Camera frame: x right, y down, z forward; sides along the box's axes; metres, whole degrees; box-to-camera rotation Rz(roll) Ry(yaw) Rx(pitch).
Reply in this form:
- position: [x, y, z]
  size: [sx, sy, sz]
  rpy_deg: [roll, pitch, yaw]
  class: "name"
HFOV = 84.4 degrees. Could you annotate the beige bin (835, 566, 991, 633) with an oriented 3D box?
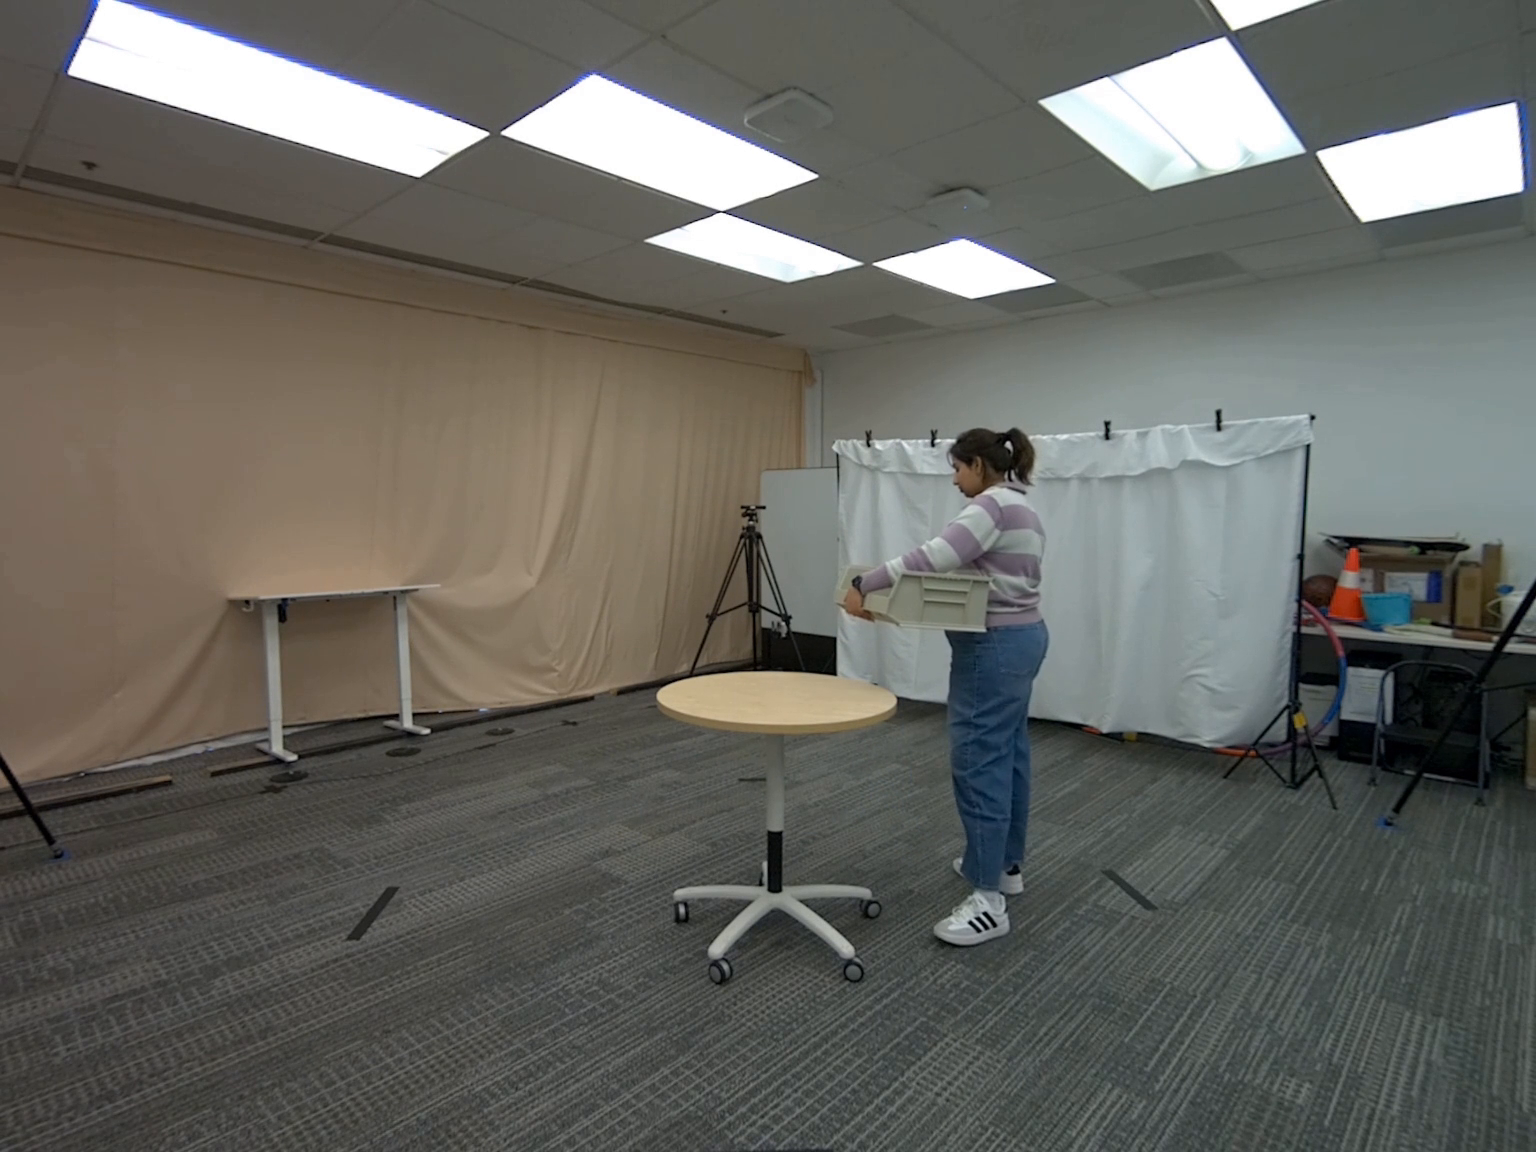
- position: [0.489, 0.080, 2.879]
  size: [0.371, 0.189, 0.430]
  rpy_deg: [5, 3, -17]
  class: "beige bin"
